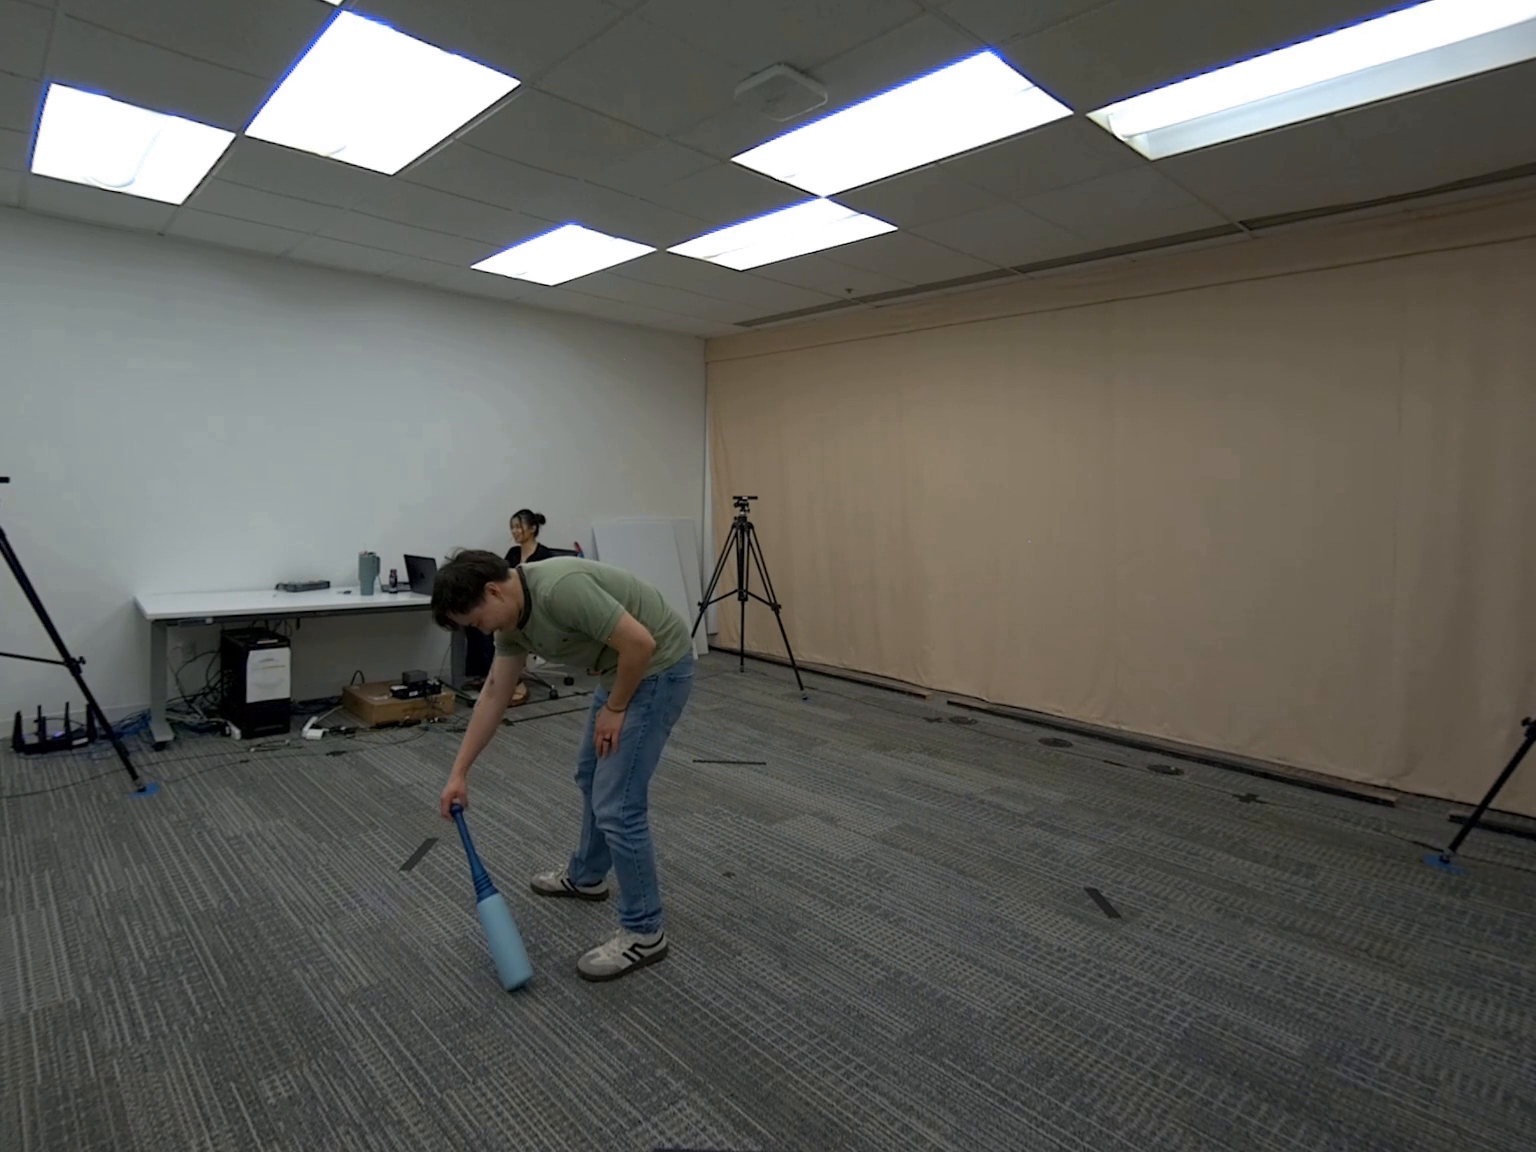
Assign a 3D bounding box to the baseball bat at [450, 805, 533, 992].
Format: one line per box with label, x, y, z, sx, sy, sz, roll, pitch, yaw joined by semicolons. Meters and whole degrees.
baseball bat;-0.823;0.926;2.438;0.088;0.554;0.087;-26;-21;-12
